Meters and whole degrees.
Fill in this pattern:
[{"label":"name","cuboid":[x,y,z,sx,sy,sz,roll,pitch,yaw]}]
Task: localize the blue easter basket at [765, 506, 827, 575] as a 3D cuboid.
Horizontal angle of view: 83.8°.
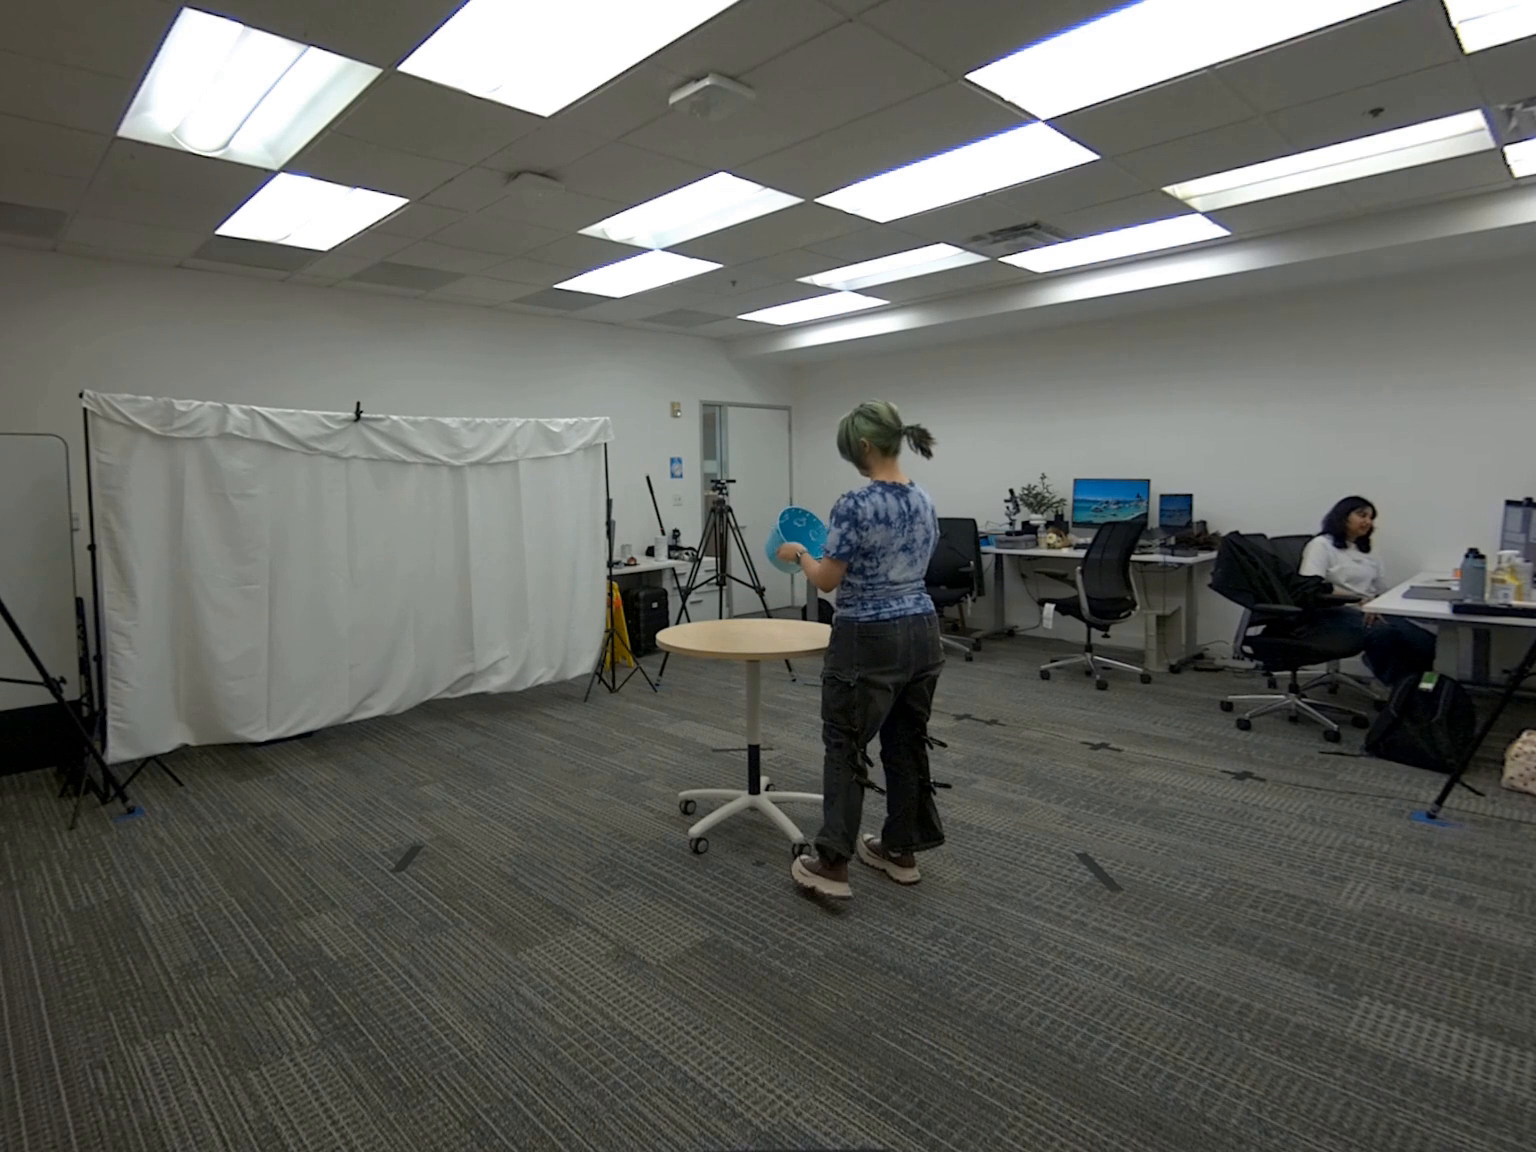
[{"label":"blue easter basket","cuboid":[0.105,-0.127,3.268,0.237,0.250,0.155,-4,-30,-33]}]
